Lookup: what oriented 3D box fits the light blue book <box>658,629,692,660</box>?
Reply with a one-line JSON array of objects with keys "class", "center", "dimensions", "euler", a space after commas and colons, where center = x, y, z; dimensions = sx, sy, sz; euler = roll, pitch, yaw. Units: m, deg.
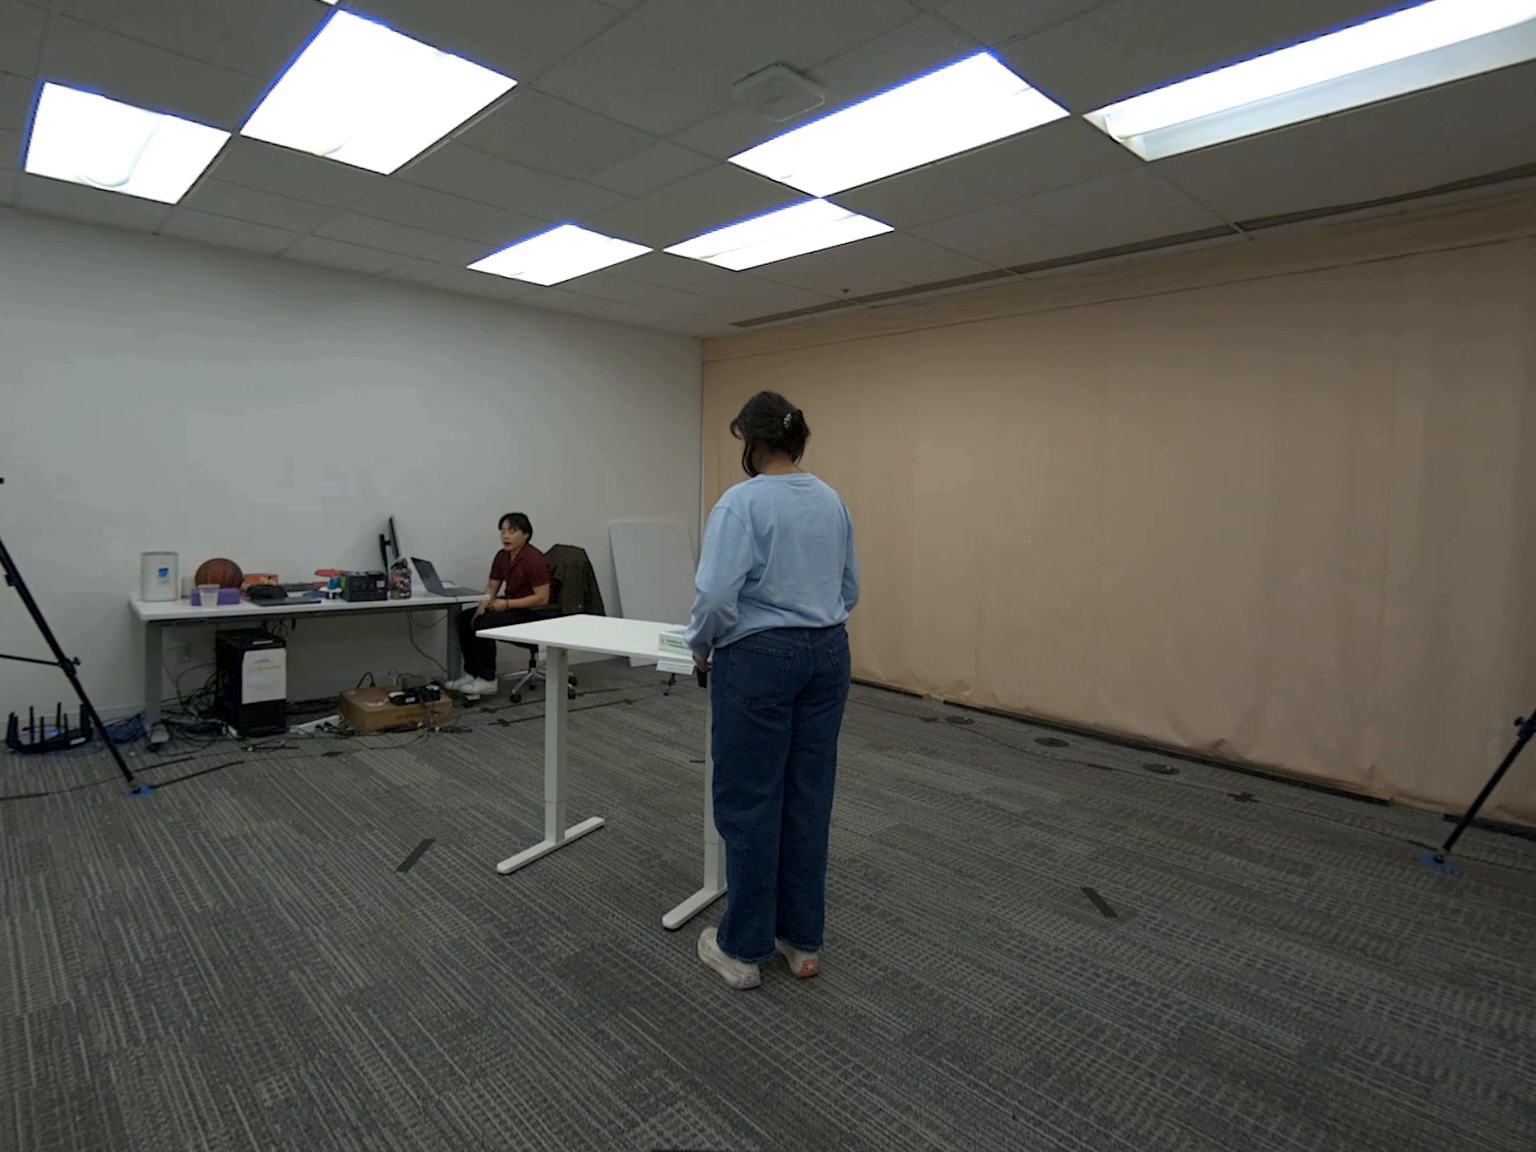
[{"class": "light blue book", "center": [-0.209, 0.223, 2.764], "dimensions": [0.268, 0.059, 0.187], "euler": [6, 7, 40]}]
